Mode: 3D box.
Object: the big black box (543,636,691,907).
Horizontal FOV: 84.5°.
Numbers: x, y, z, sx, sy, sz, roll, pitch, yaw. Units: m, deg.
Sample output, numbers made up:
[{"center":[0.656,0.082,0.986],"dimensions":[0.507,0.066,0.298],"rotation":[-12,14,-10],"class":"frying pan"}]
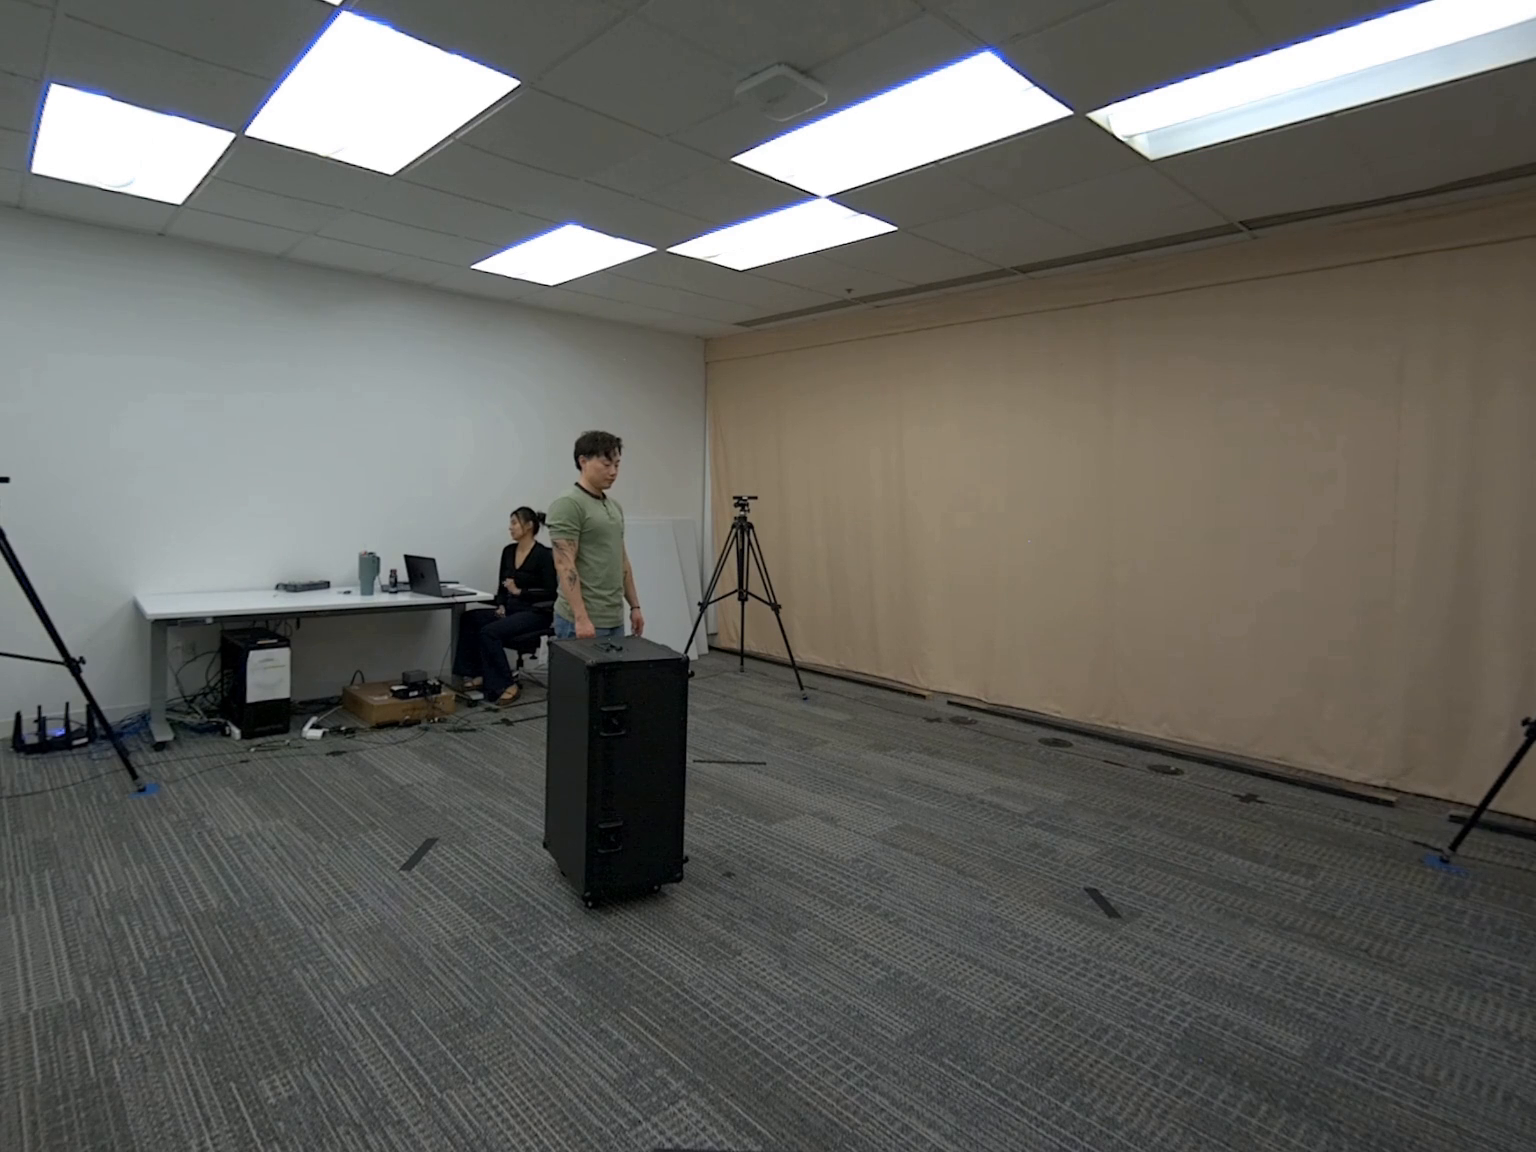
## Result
[{"center":[-0.552,0.677,3.007],"dimensions":[0.388,0.860,0.533],"rotation":[1,3,-30],"class":"big black box"}]
